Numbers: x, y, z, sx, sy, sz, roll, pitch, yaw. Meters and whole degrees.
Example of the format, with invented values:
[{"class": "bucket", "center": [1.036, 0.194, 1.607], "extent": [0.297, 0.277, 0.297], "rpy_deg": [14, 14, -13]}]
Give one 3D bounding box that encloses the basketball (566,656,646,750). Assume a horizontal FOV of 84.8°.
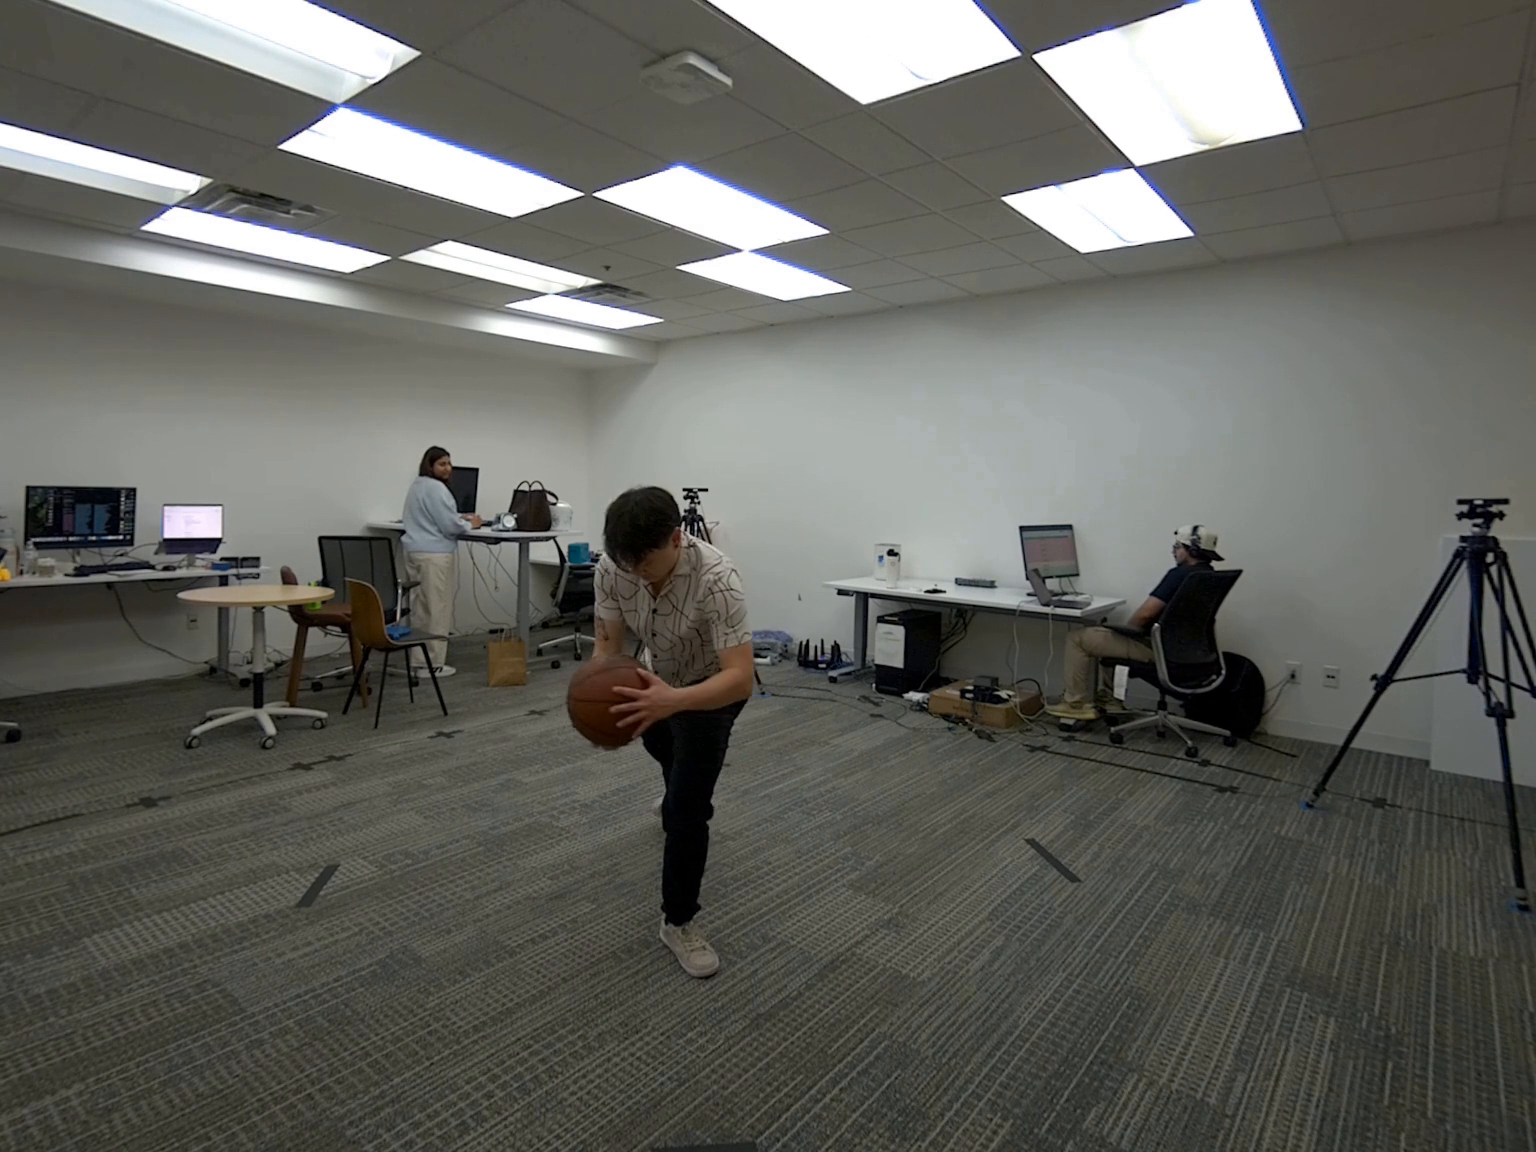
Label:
[{"class": "basketball", "center": [-0.394, 0.312, 2.231], "extent": [0.235, 0.235, 0.237], "rpy_deg": [1, 4, -2]}]
